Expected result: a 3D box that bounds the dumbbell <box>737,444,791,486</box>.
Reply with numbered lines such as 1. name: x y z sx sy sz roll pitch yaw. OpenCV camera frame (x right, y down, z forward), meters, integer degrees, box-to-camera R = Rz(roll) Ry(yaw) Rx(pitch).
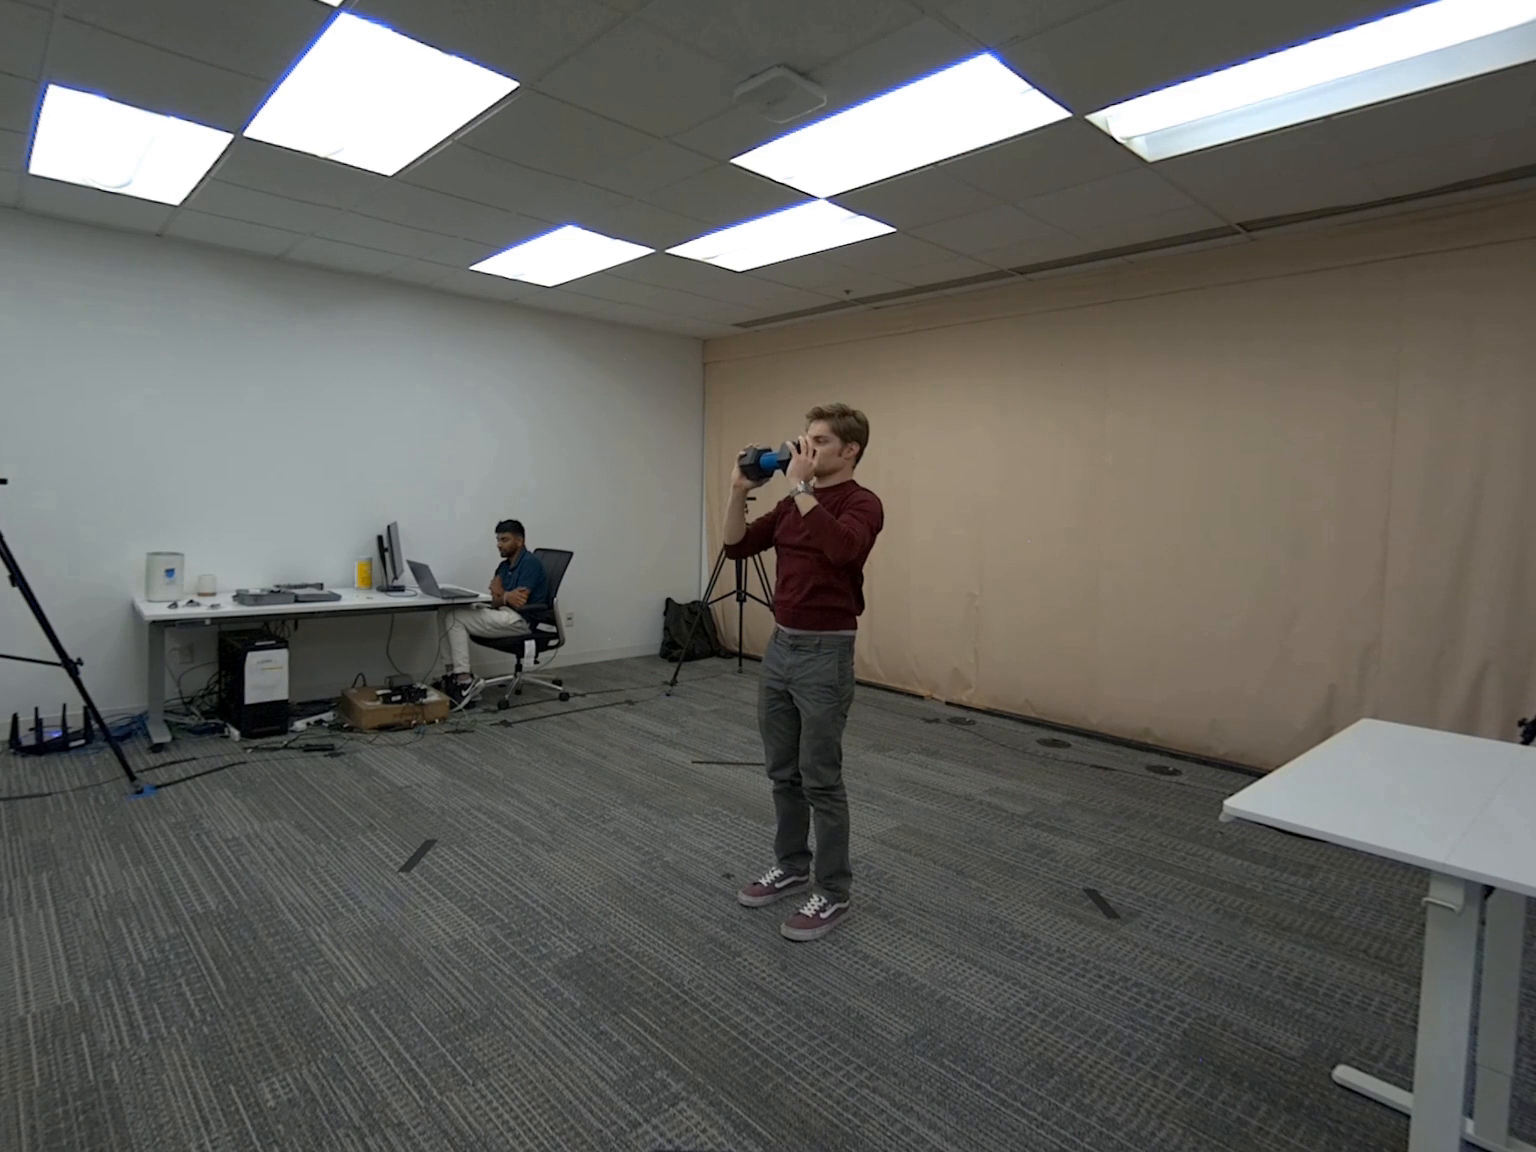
1. dumbbell: 0.025 -0.375 2.733 0.106 0.123 0.300 28 -15 -31
